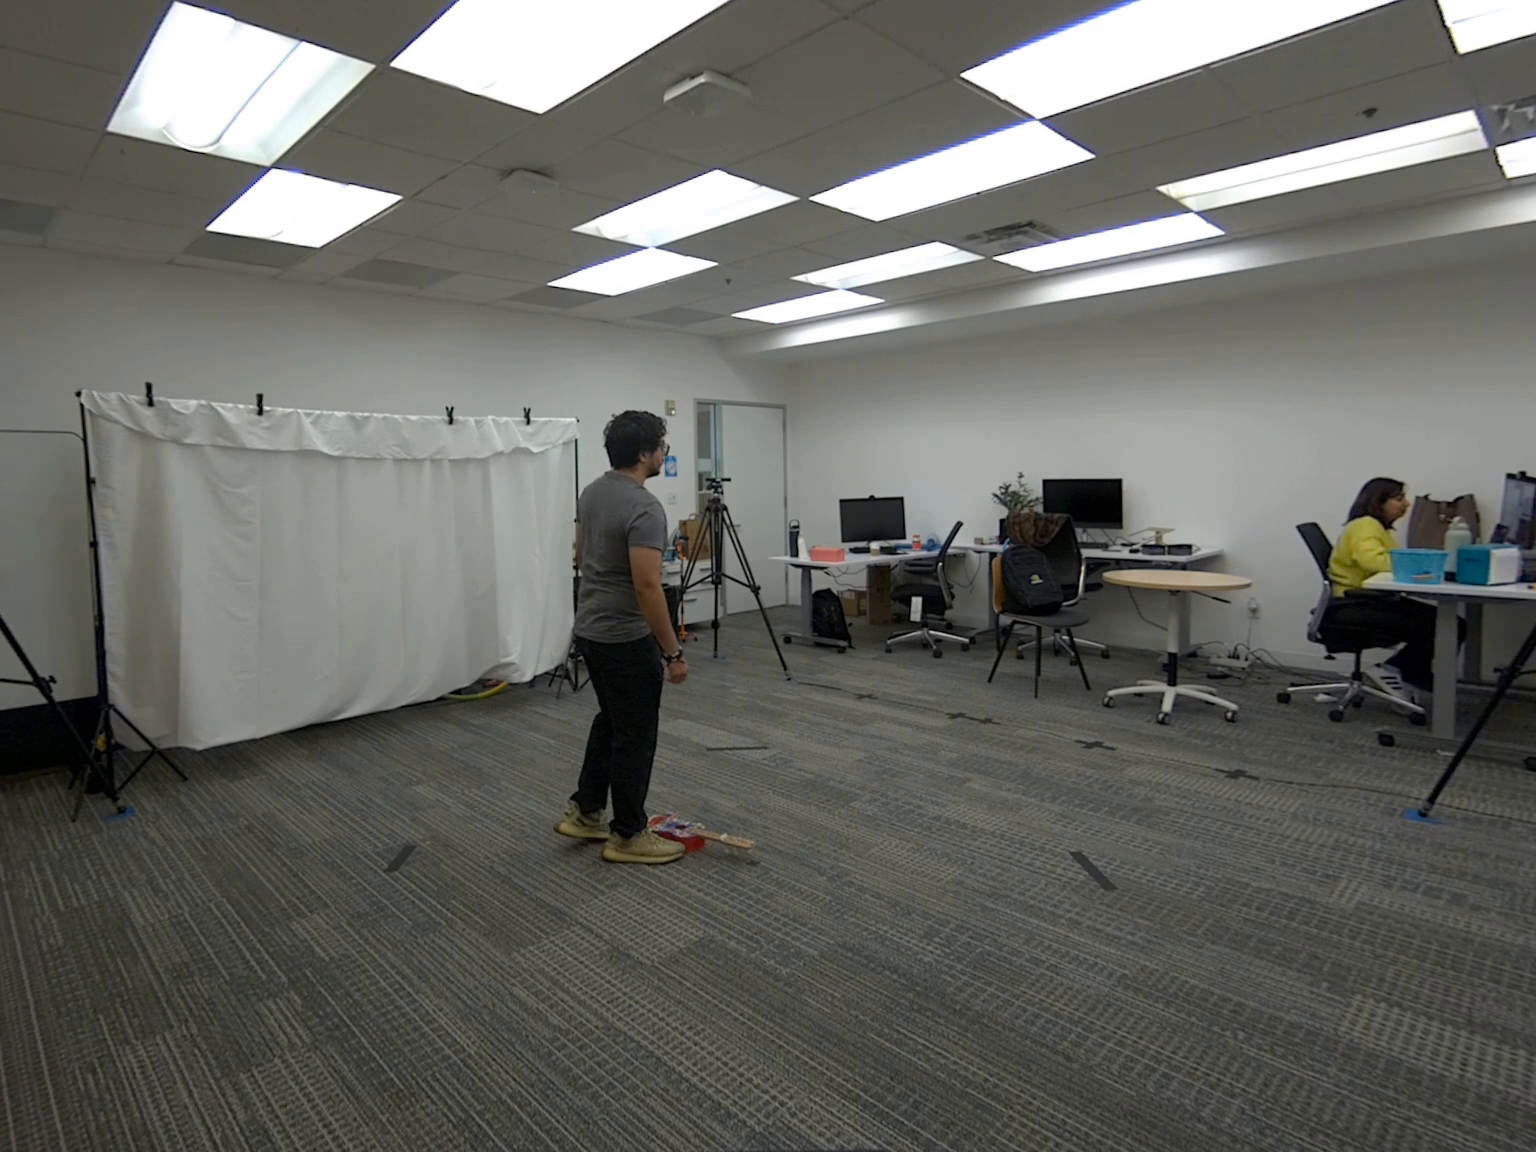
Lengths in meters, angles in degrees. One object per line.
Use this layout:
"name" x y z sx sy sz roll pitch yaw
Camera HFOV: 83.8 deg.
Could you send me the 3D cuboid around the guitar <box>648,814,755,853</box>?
"guitar" -0.287 0.995 3.222 0.513 0.070 0.188 4 8 40
